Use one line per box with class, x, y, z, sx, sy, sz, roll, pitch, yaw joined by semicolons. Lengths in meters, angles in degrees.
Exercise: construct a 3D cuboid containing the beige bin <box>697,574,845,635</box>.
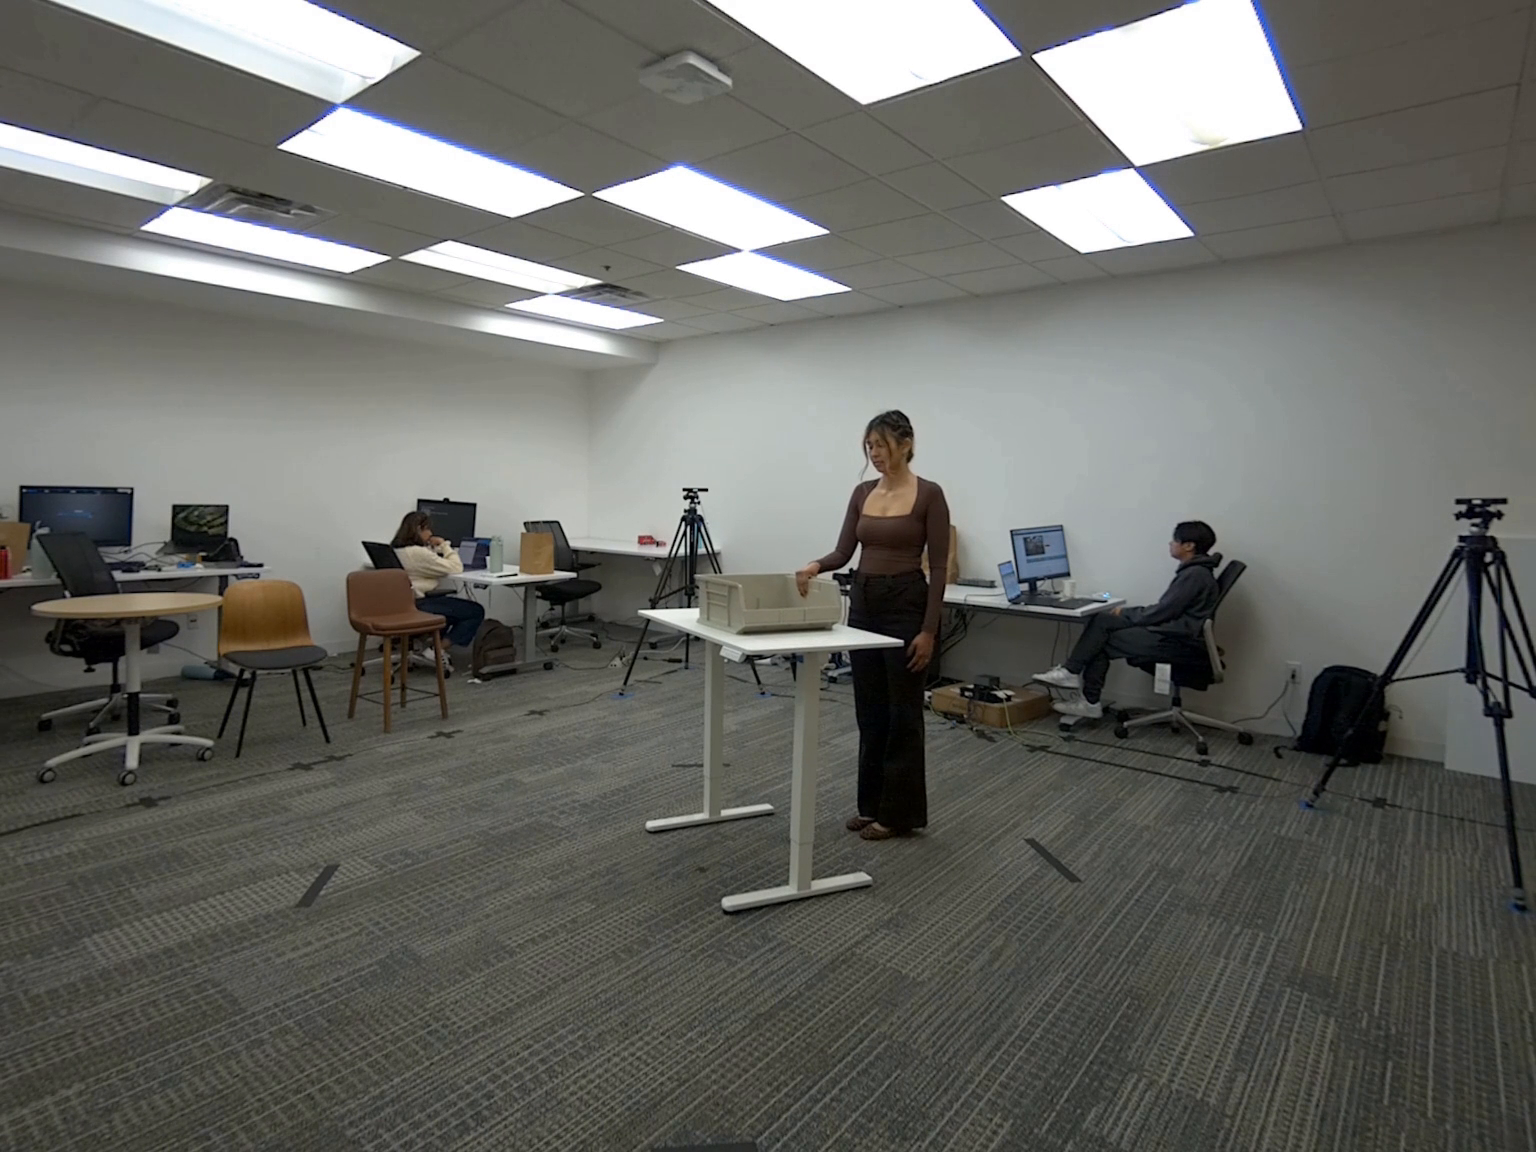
beige bin;-0.011;0.096;3.151;0.411;0.188;0.388;-2;4;-29
